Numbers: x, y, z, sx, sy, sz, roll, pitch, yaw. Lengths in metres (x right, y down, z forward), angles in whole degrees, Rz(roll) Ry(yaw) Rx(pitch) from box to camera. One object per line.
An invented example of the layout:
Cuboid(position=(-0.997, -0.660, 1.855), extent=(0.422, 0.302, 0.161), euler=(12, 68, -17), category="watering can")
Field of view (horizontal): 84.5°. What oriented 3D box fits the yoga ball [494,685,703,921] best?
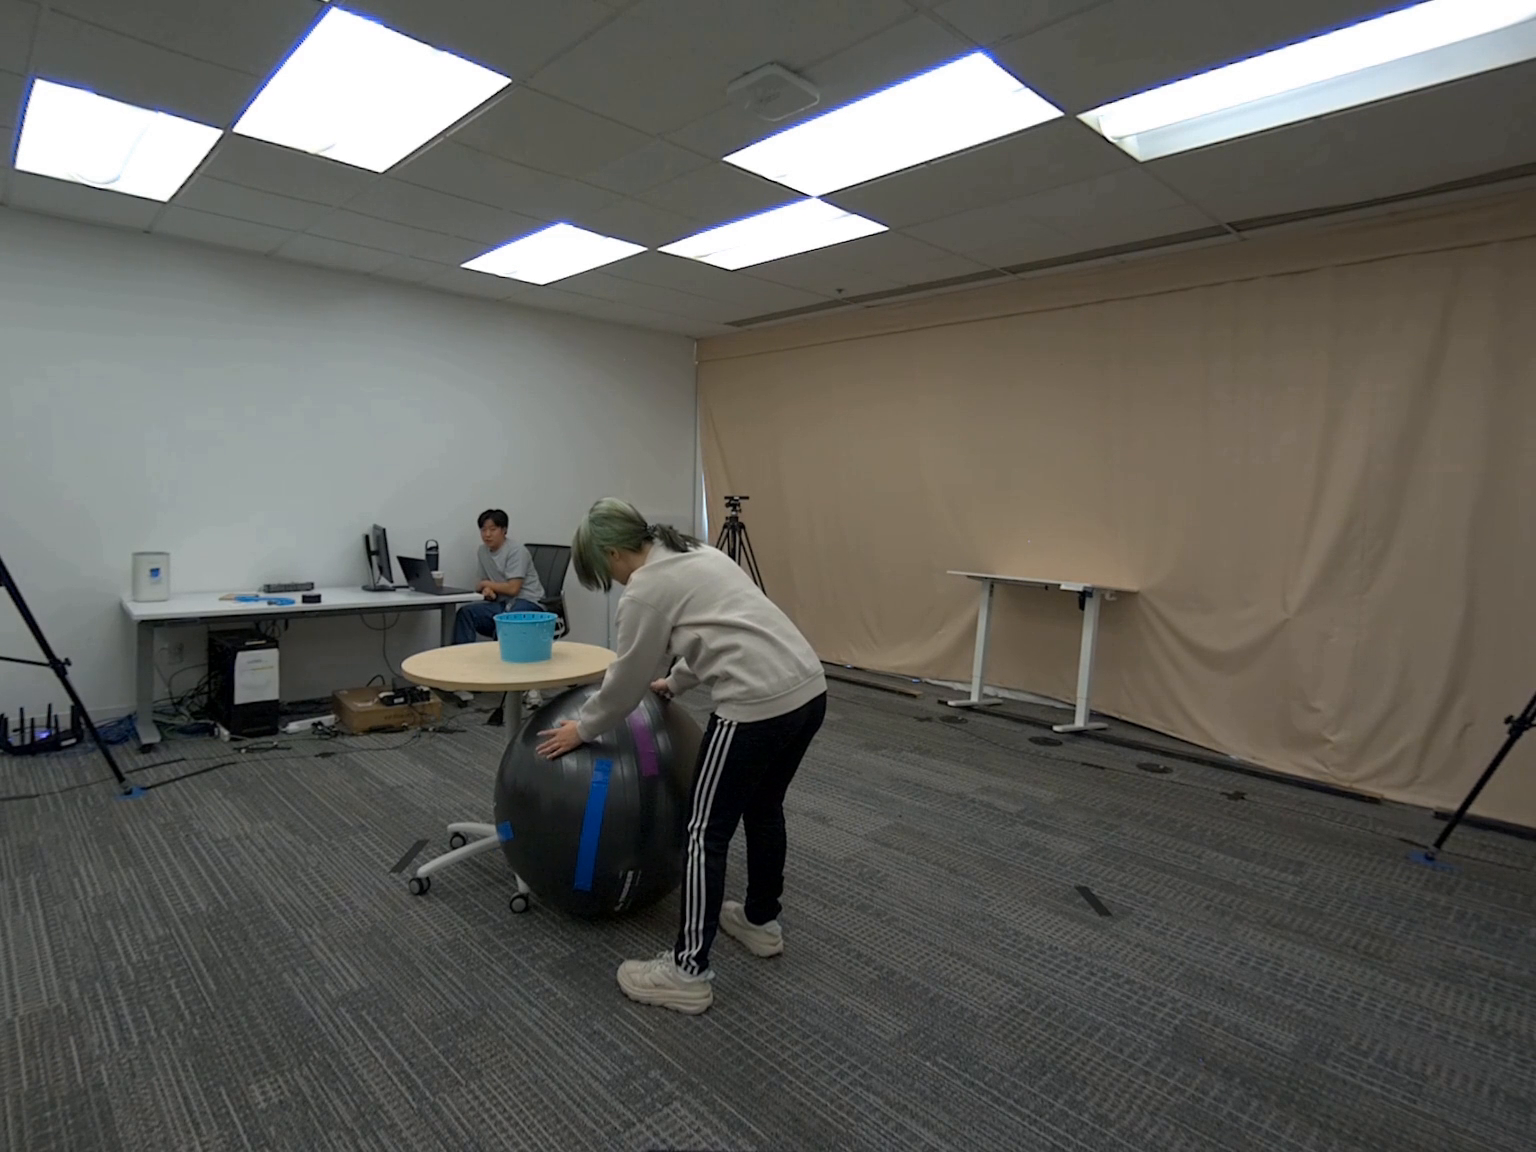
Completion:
Cuboid(position=(-0.540, 0.746, 2.855), extent=(0.757, 0.756, 0.761), euler=(1, 4, -1), category="yoga ball")
